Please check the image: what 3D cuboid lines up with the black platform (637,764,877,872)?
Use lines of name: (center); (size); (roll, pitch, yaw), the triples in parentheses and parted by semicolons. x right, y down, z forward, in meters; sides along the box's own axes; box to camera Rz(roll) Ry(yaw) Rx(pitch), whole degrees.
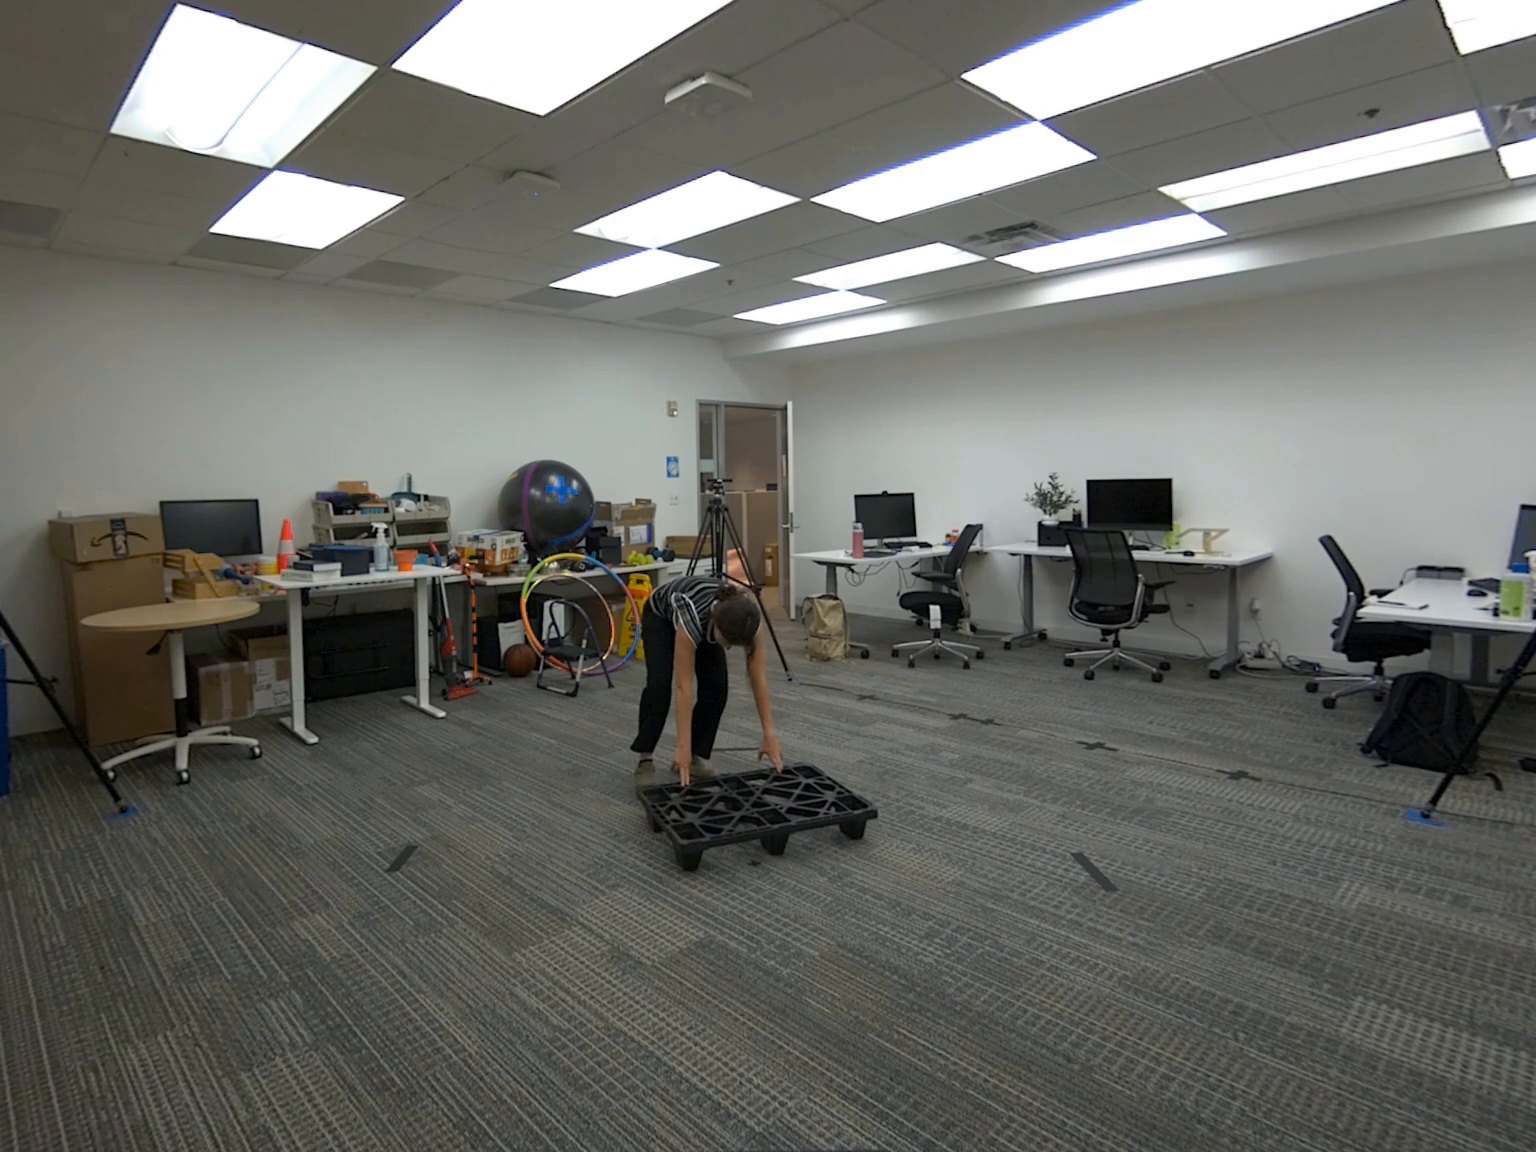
black platform: (-0.054, 0.944, 3.388); (0.790, 0.142, 0.620); (-4, 7, -22)
